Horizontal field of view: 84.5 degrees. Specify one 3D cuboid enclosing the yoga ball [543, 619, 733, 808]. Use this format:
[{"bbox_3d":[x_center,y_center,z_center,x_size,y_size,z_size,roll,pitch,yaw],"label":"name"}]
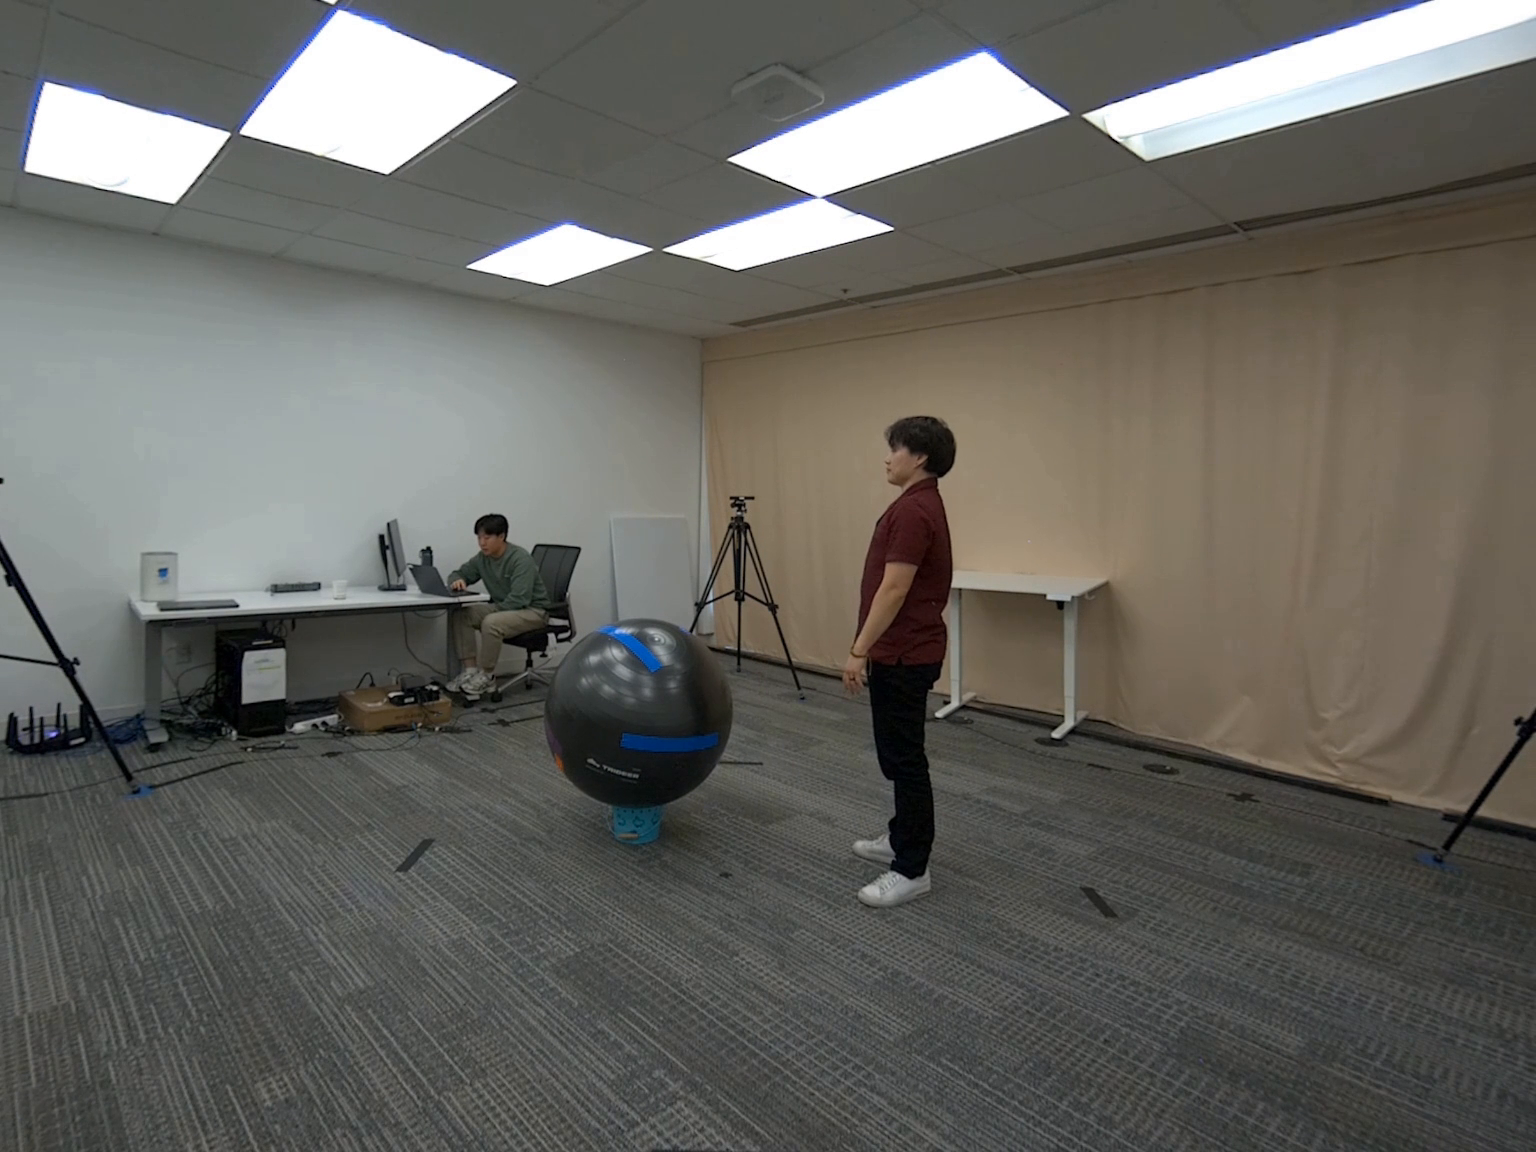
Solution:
[{"bbox_3d":[-0.527,0.557,3.442,0.757,0.756,0.761,1,4,-1],"label":"yoga ball"}]
